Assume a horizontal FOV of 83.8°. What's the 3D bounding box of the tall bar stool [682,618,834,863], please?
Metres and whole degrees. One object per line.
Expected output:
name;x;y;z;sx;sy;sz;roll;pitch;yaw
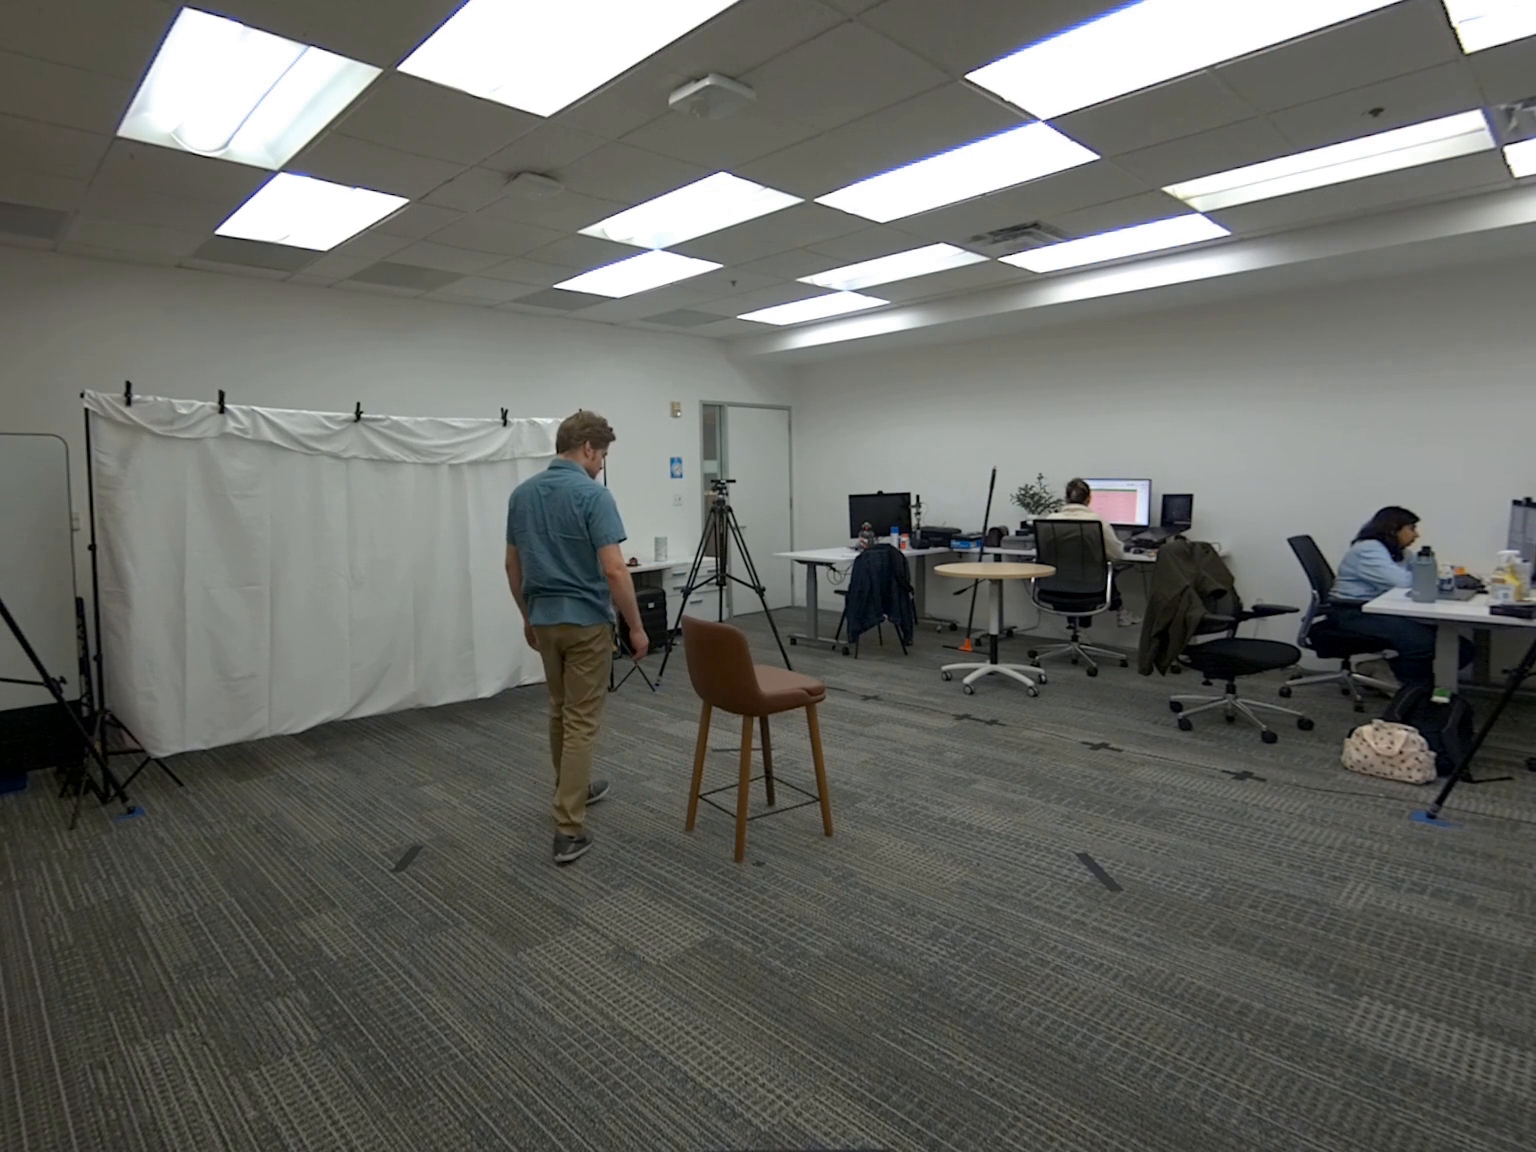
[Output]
tall bar stool;-0.056;0.583;3.359;0.456;0.885;0.470;-6;7;-35
